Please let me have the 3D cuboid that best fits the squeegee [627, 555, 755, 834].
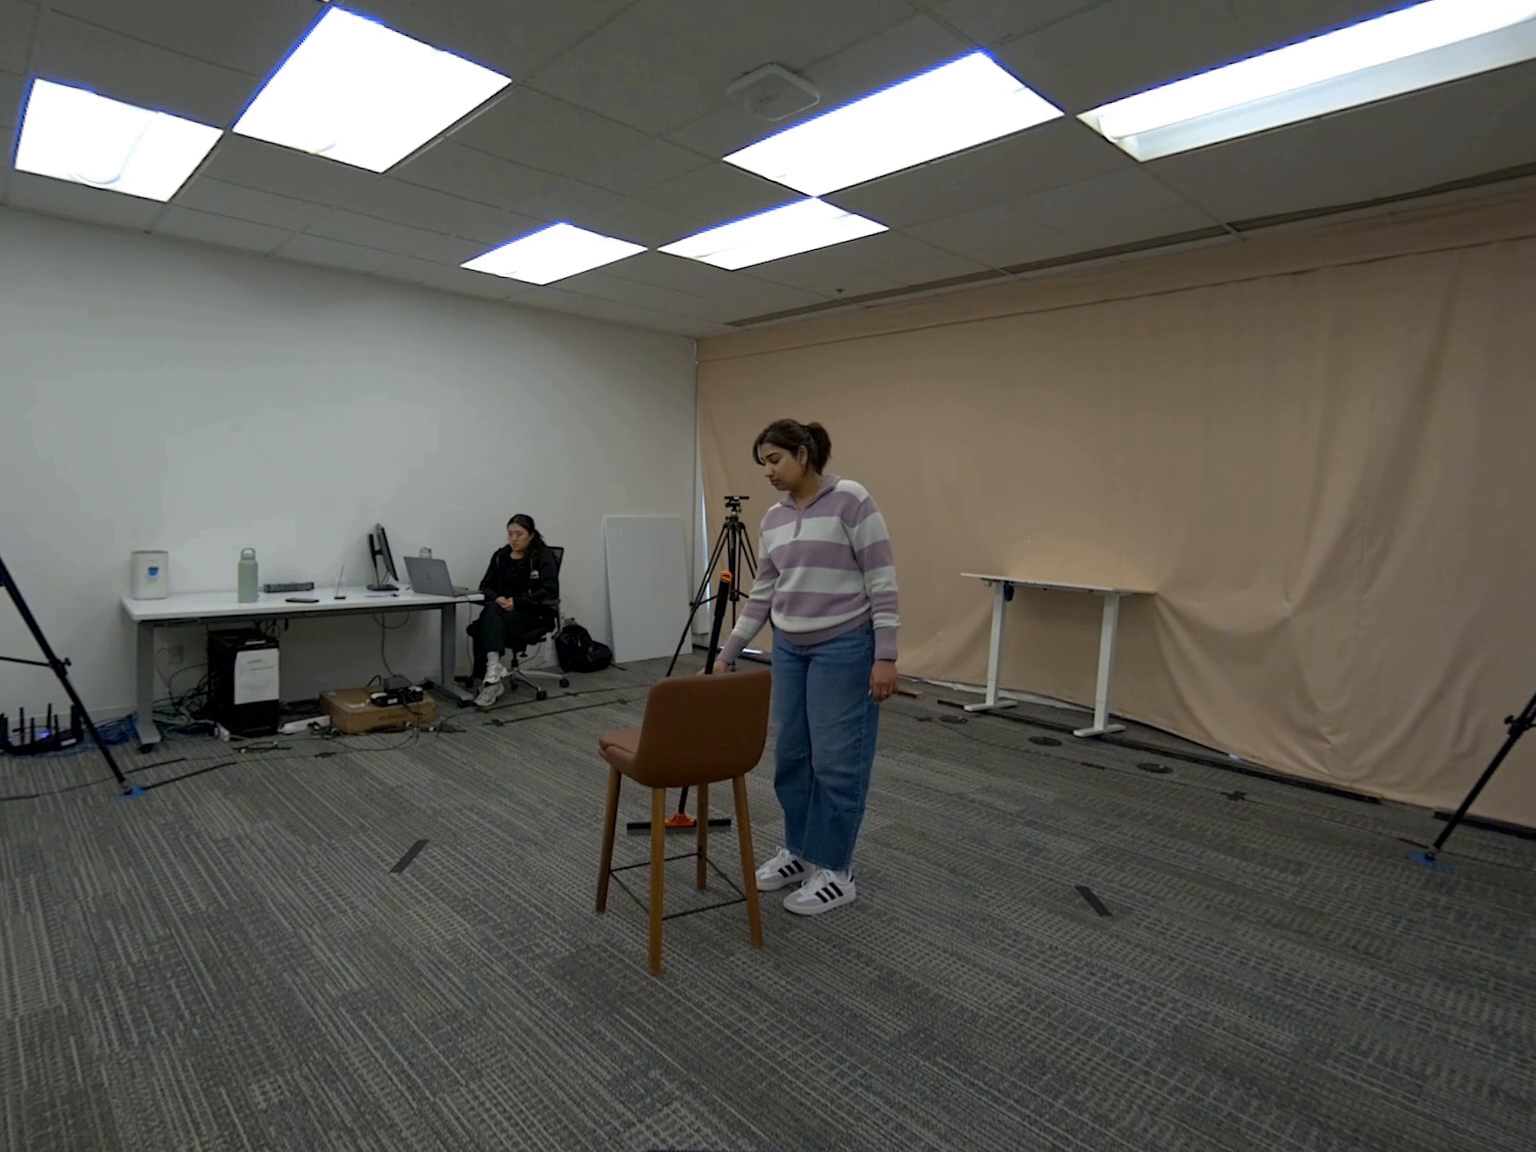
[{"bbox_3d":[-0.257,0.509,2.985,0.434,1.511,0.054,0,46,-12],"label":"squeegee"}]
